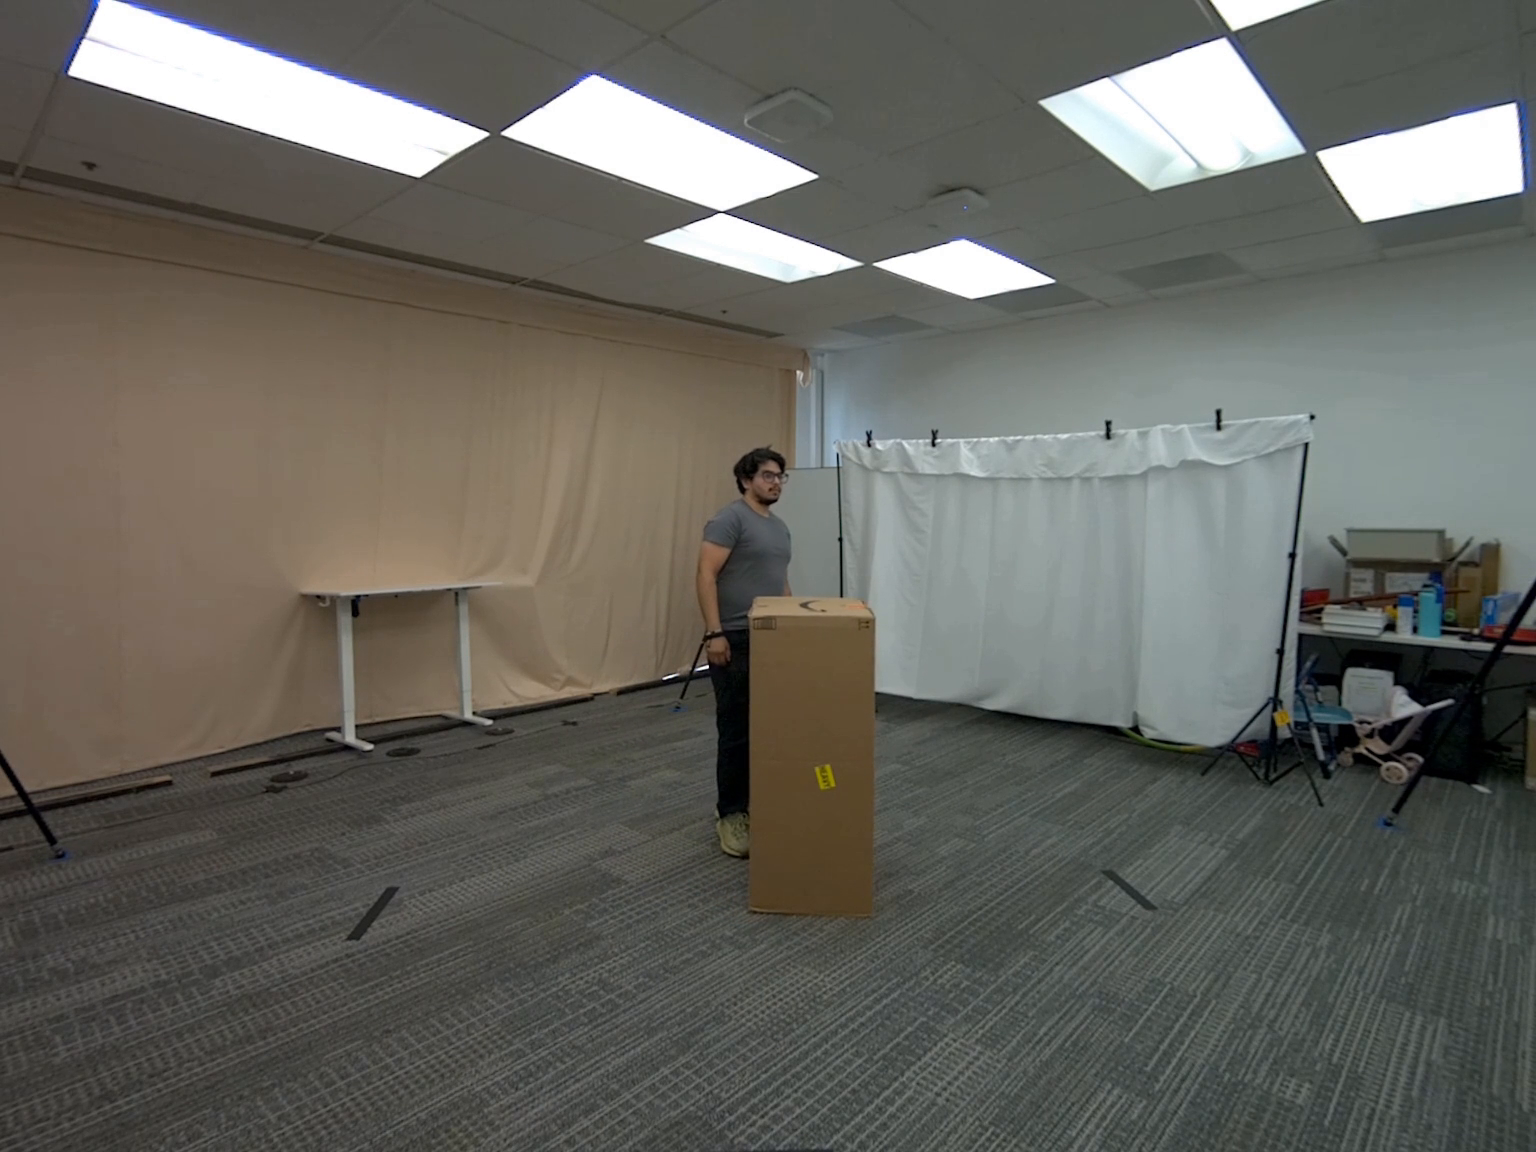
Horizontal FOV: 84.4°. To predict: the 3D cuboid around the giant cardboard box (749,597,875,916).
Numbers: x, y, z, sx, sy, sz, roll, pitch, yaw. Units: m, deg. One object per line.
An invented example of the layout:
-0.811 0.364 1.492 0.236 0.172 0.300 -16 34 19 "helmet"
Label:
0.161 0.623 3.121 0.448 1.025 0.583 0 3 2 "giant cardboard box"
